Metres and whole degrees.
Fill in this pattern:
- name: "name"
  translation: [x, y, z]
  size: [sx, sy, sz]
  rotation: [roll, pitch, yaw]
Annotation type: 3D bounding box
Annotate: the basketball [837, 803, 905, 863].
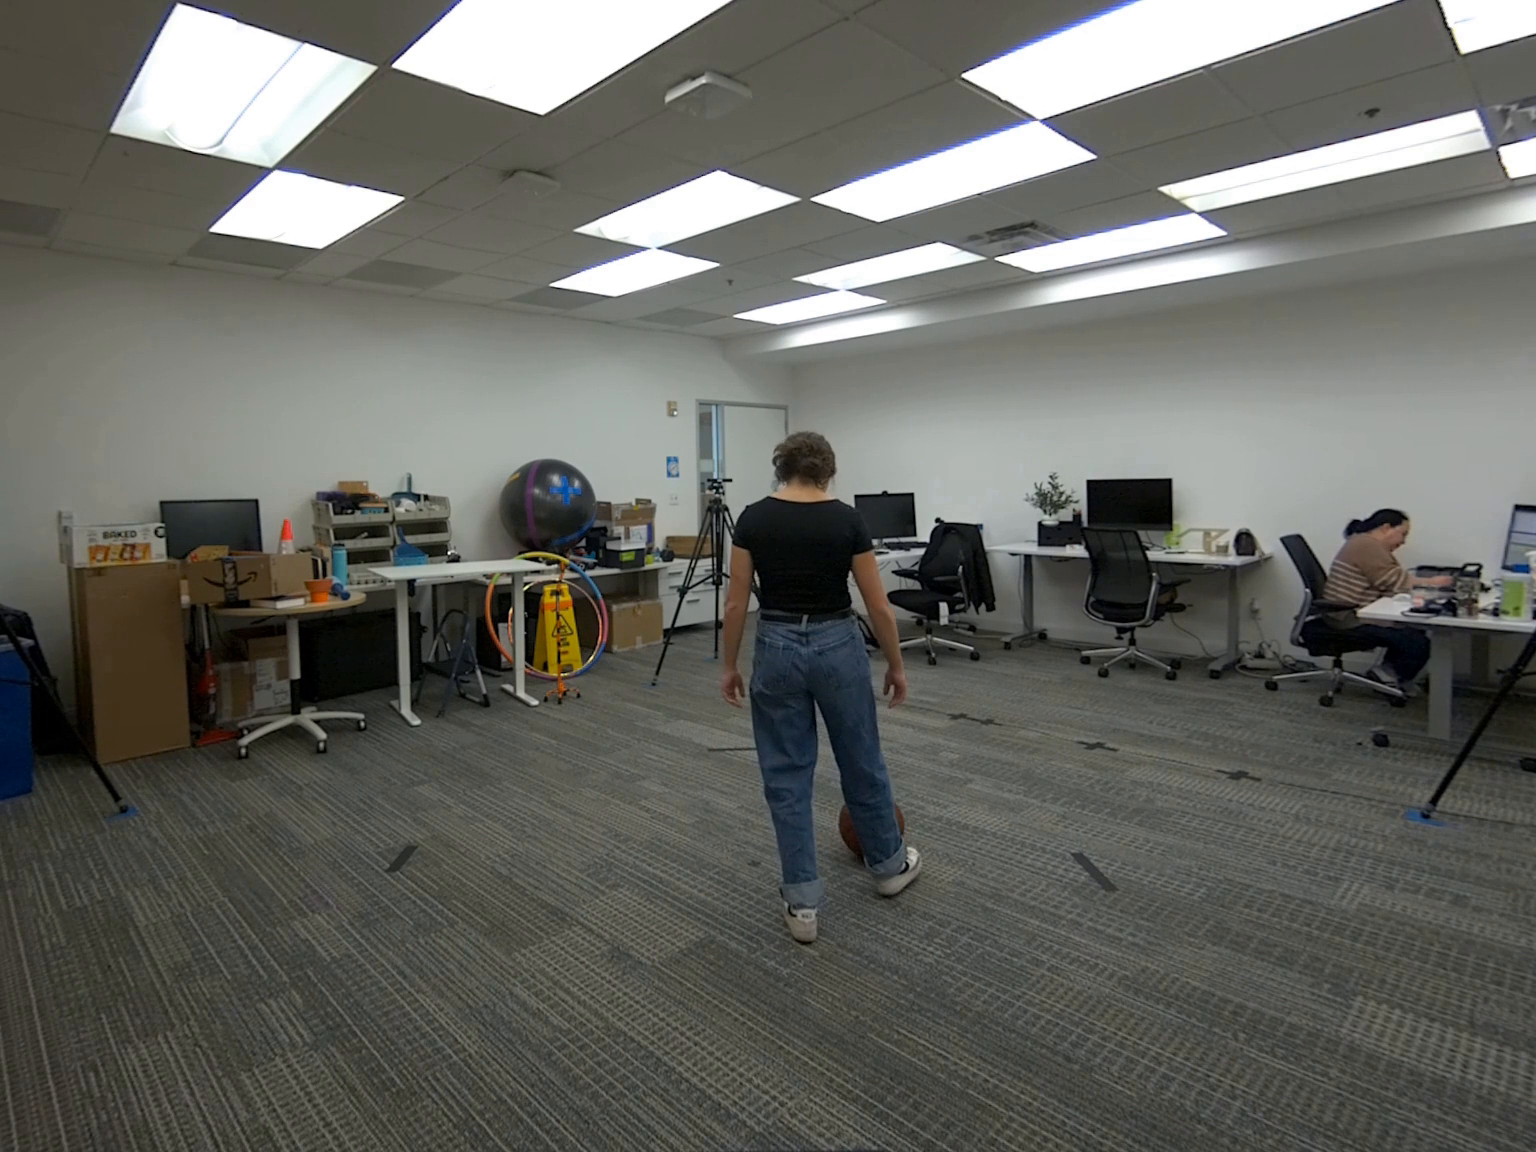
- name: "basketball"
  translation: [0.385, 0.913, 3.147]
  size: [0.236, 0.235, 0.237]
  rotation: [-1, 5, -2]
